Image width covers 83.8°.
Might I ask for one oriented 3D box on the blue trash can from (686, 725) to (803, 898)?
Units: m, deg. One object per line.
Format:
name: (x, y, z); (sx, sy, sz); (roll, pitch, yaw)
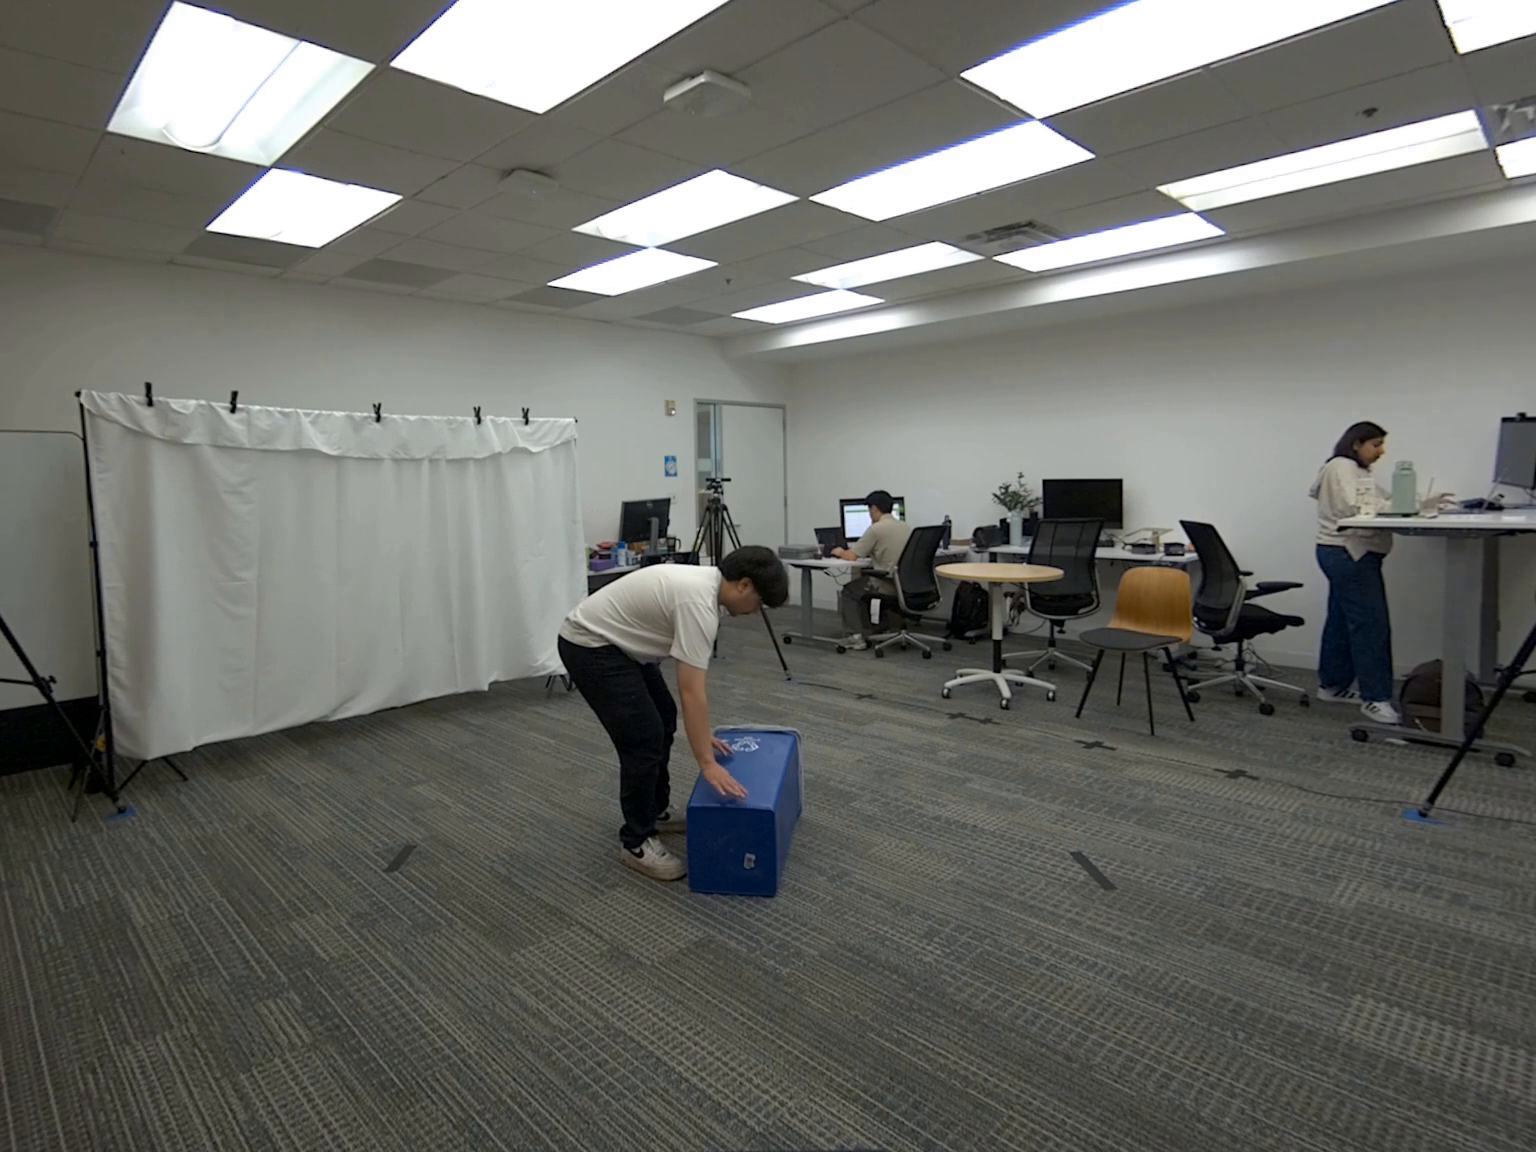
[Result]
blue trash can: (-0.078, 0.862, 3.202); (0.377, 0.375, 0.713); (0, 9, 6)
